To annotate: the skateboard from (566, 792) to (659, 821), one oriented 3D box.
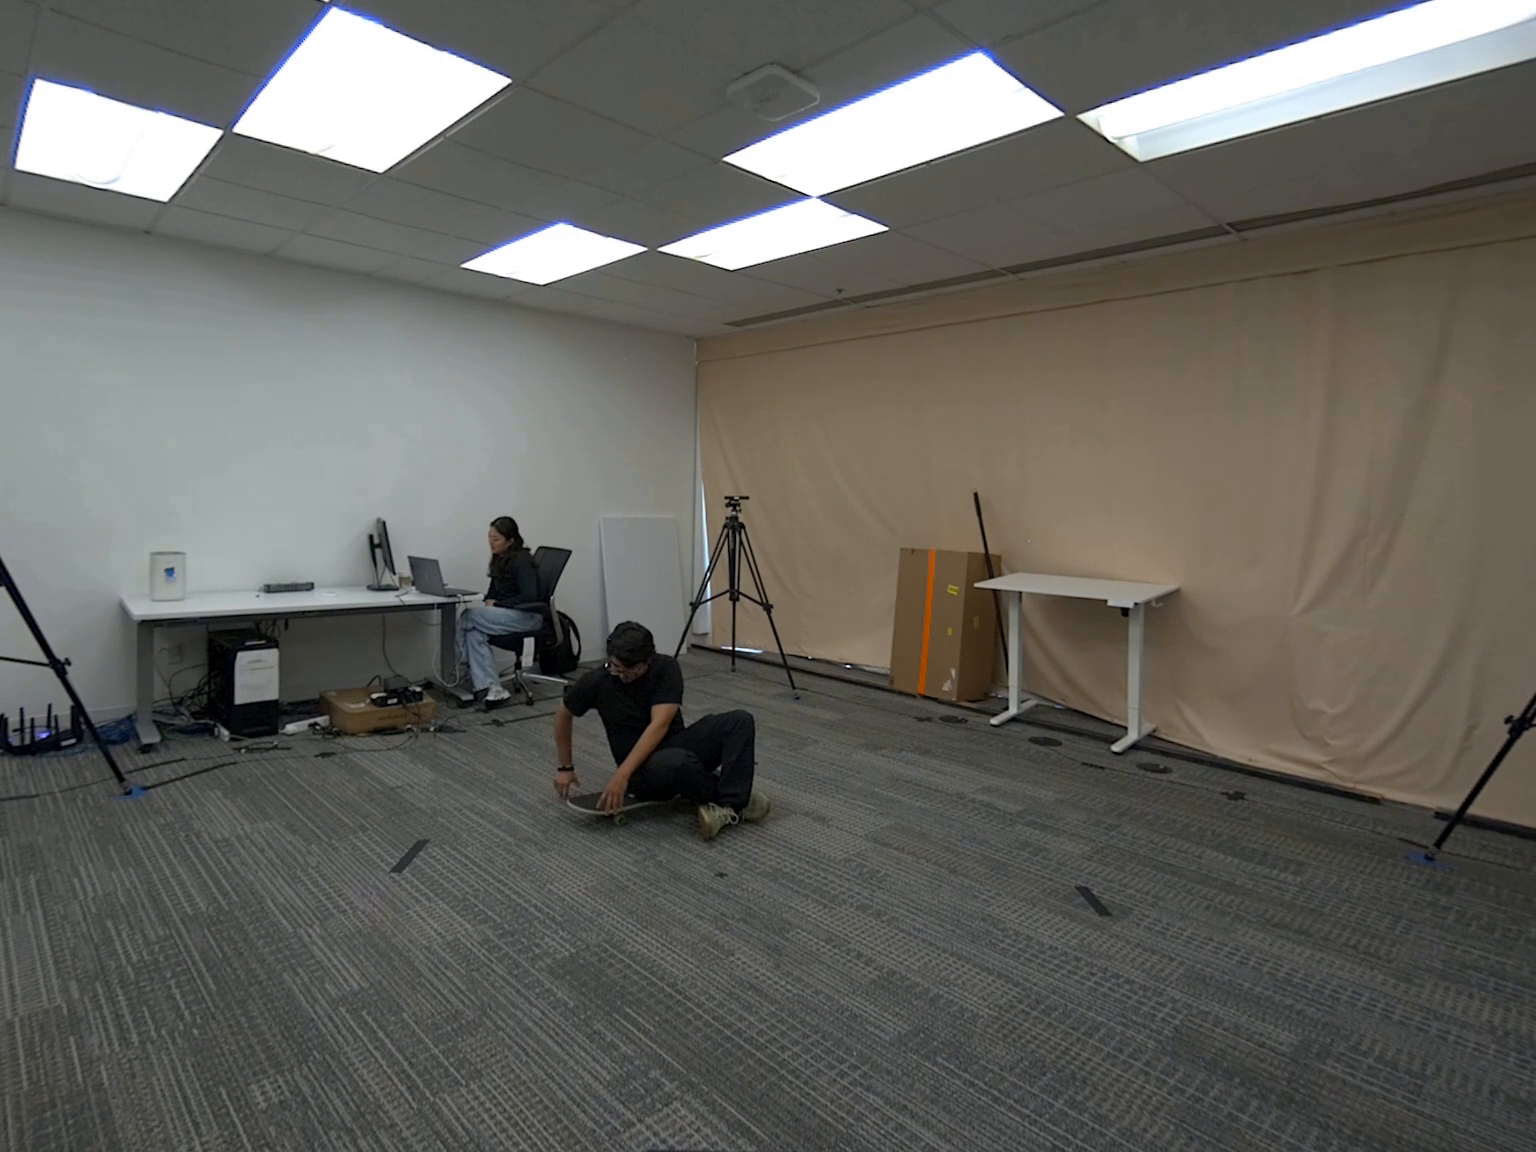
[{"bbox_3d":[-0.536,0.983,3.735,0.767,0.110,0.199,-1,8,-39],"label":"skateboard"}]
